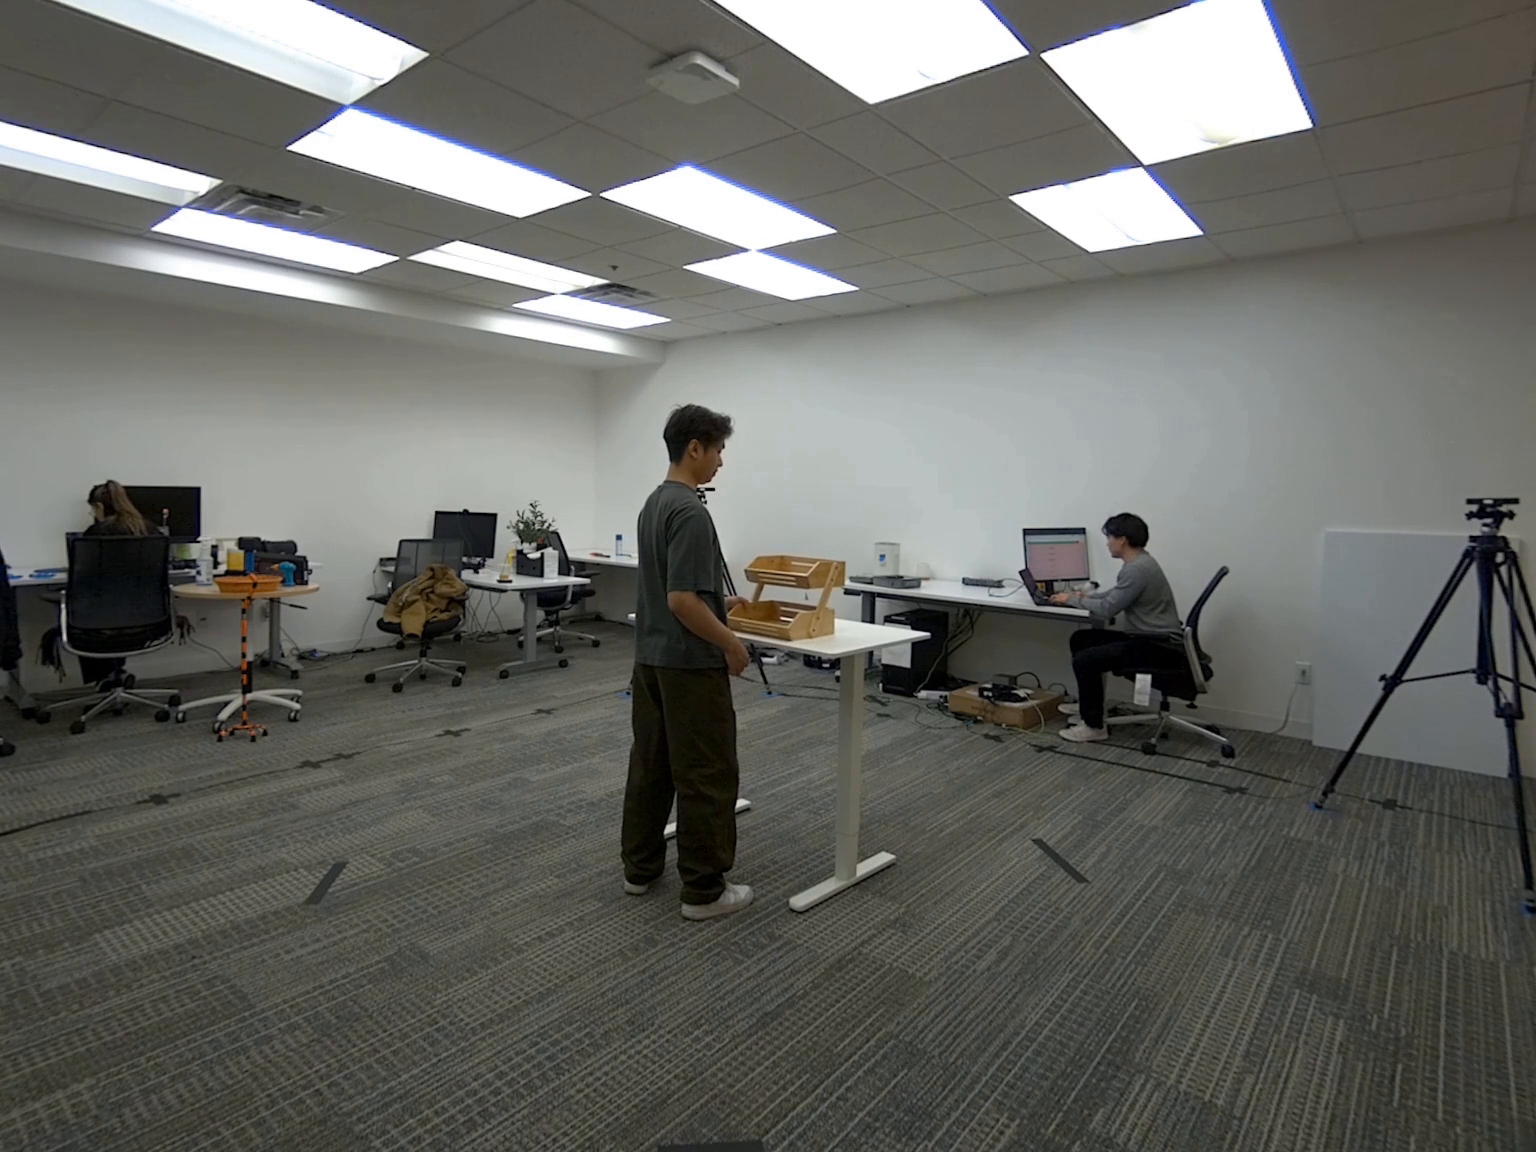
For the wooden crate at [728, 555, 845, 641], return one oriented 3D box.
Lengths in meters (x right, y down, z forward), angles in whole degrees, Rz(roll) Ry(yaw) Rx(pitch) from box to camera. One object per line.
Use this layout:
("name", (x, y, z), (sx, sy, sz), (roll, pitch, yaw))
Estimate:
("wooden crate", (0.052, 0.065, 3.049), (0.336, 0.272, 0.293), (6, 6, 44))
